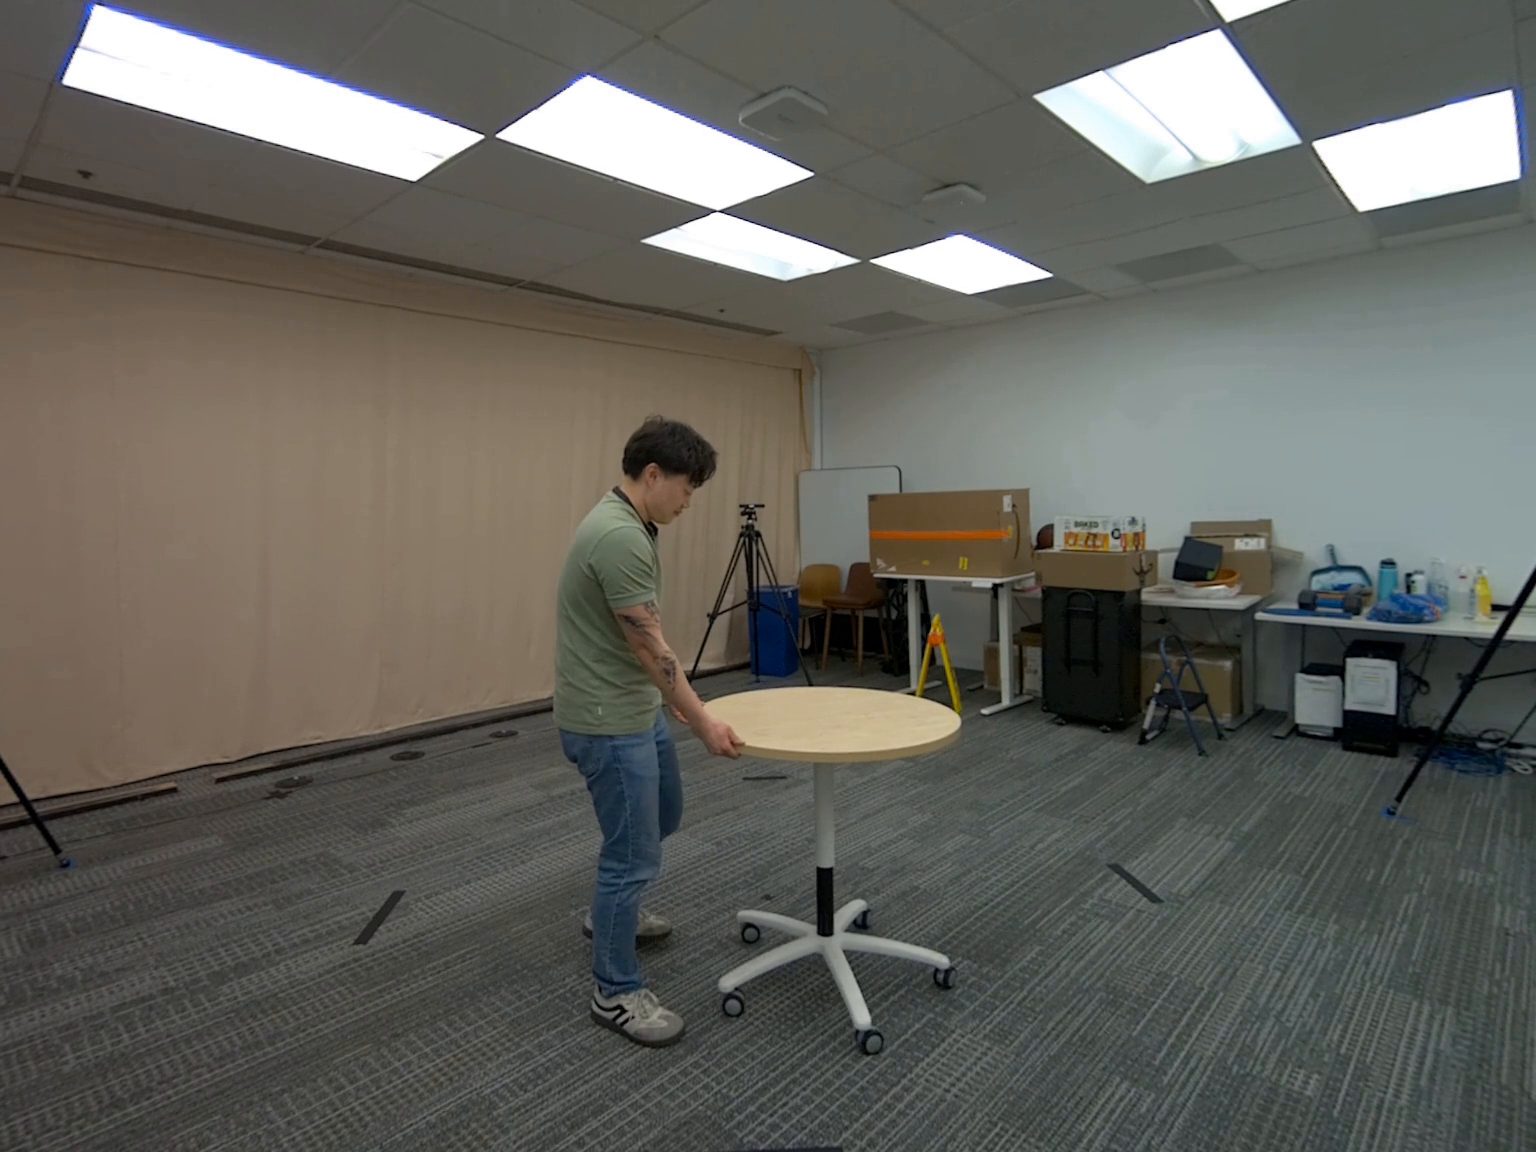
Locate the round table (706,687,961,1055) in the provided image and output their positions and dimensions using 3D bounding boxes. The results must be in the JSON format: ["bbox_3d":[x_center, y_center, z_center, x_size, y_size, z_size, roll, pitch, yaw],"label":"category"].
[{"bbox_3d":[0.183,0.795,2.444,0.763,0.792,0.766,-1,3,-2],"label":"round table"}]
